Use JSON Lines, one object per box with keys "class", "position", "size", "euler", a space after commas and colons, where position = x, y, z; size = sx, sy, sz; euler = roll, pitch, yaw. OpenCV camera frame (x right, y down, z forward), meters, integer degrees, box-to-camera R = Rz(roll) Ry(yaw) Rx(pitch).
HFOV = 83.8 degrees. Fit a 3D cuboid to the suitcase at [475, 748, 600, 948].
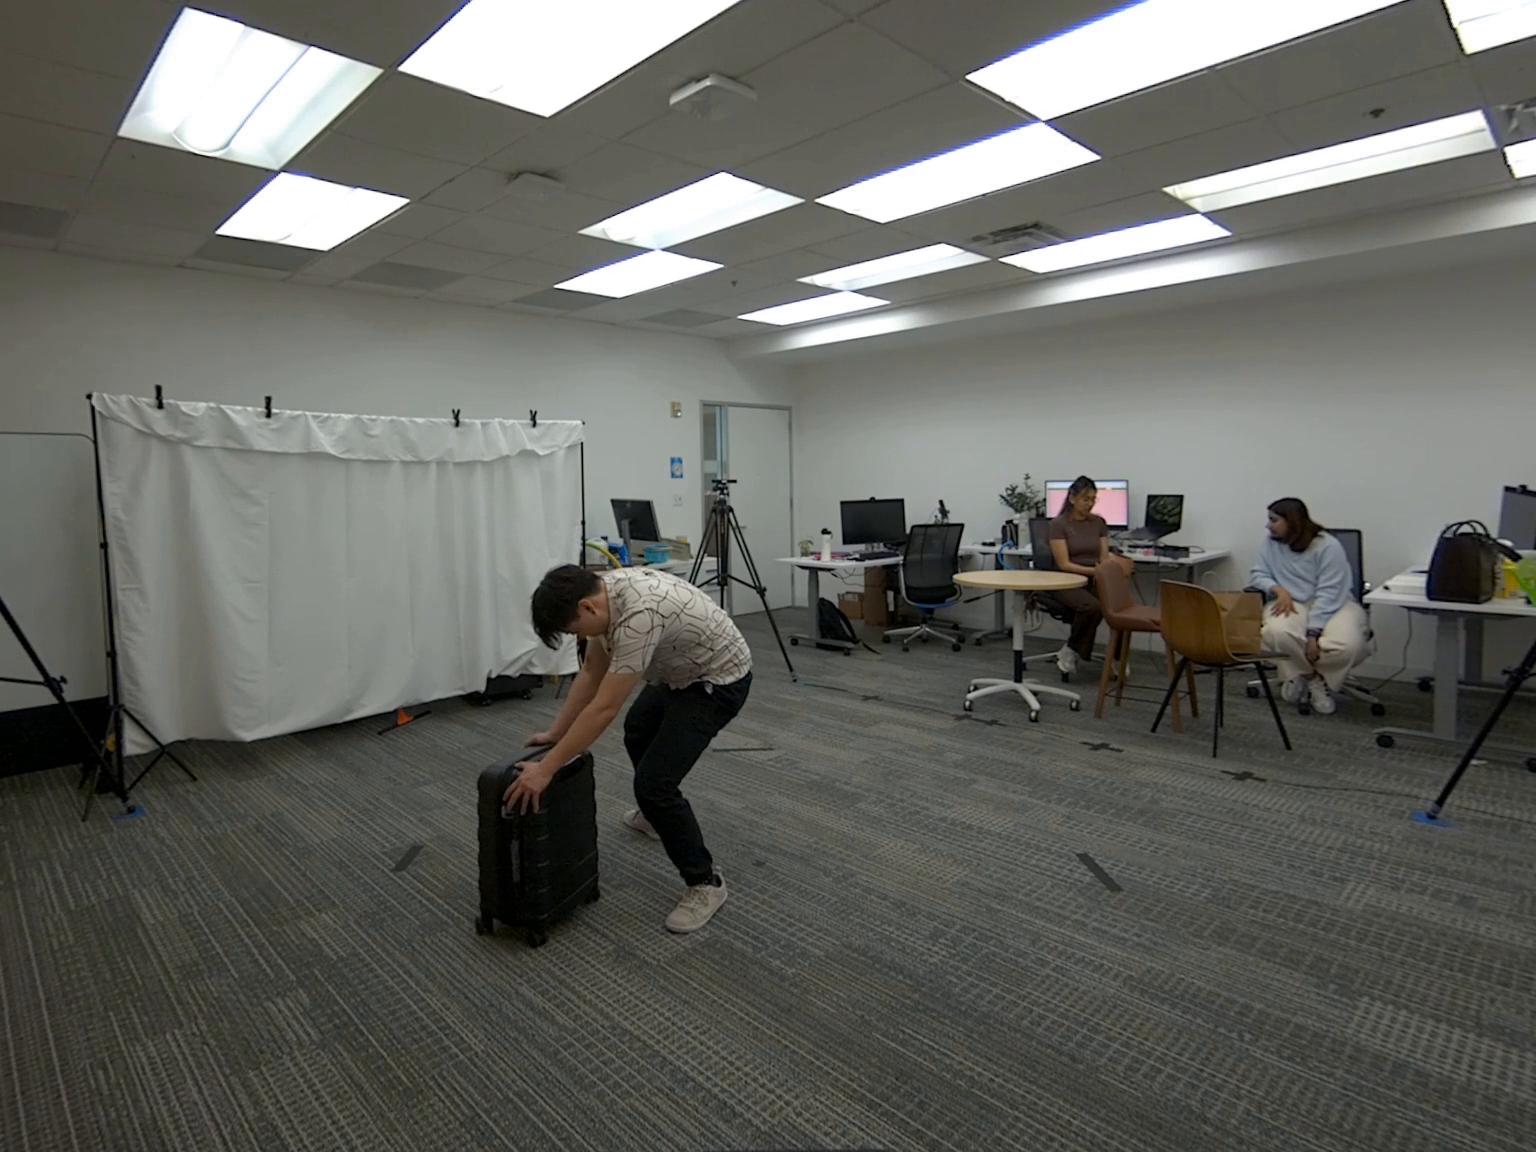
{"class": "suitcase", "position": [-0.737, 0.834, 2.728], "size": [0.253, 0.547, 0.369], "euler": [0, 6, 22]}
